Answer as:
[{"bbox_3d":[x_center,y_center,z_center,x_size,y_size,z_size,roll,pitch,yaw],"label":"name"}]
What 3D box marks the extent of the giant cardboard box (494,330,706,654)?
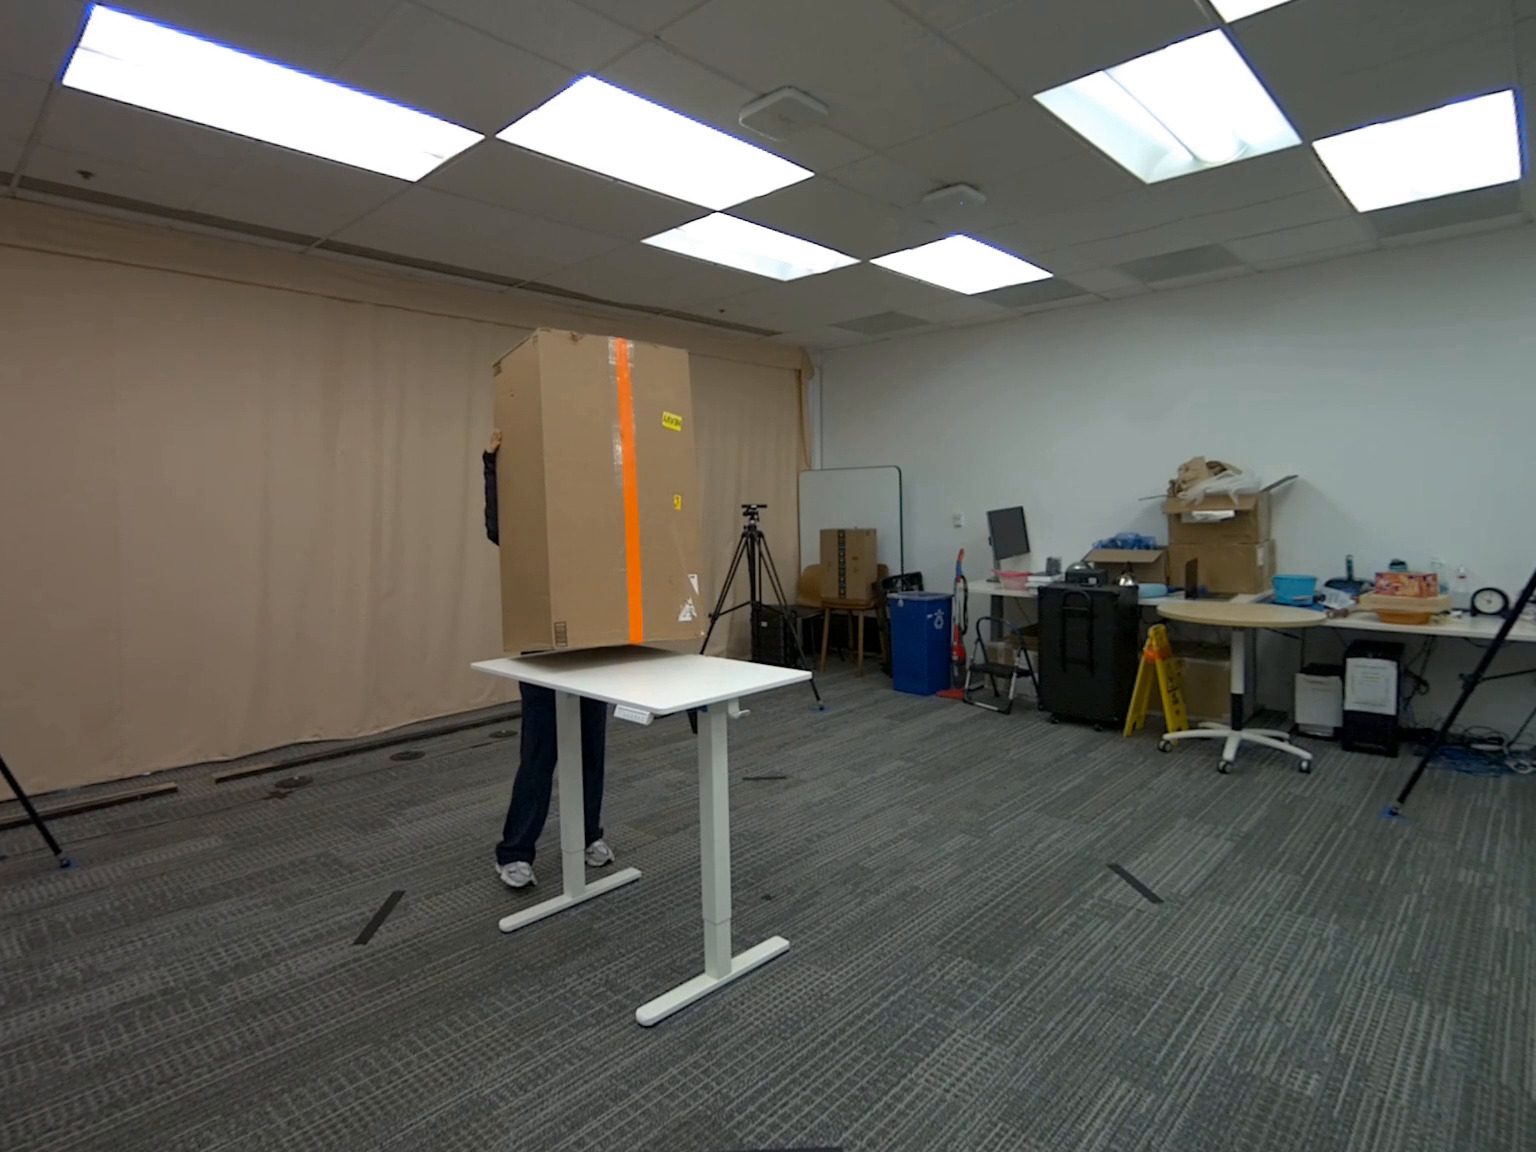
[{"bbox_3d":[-0.584,-0.266,2.949,0.566,1.030,0.459,-1,-5,-36],"label":"giant cardboard box"}]
